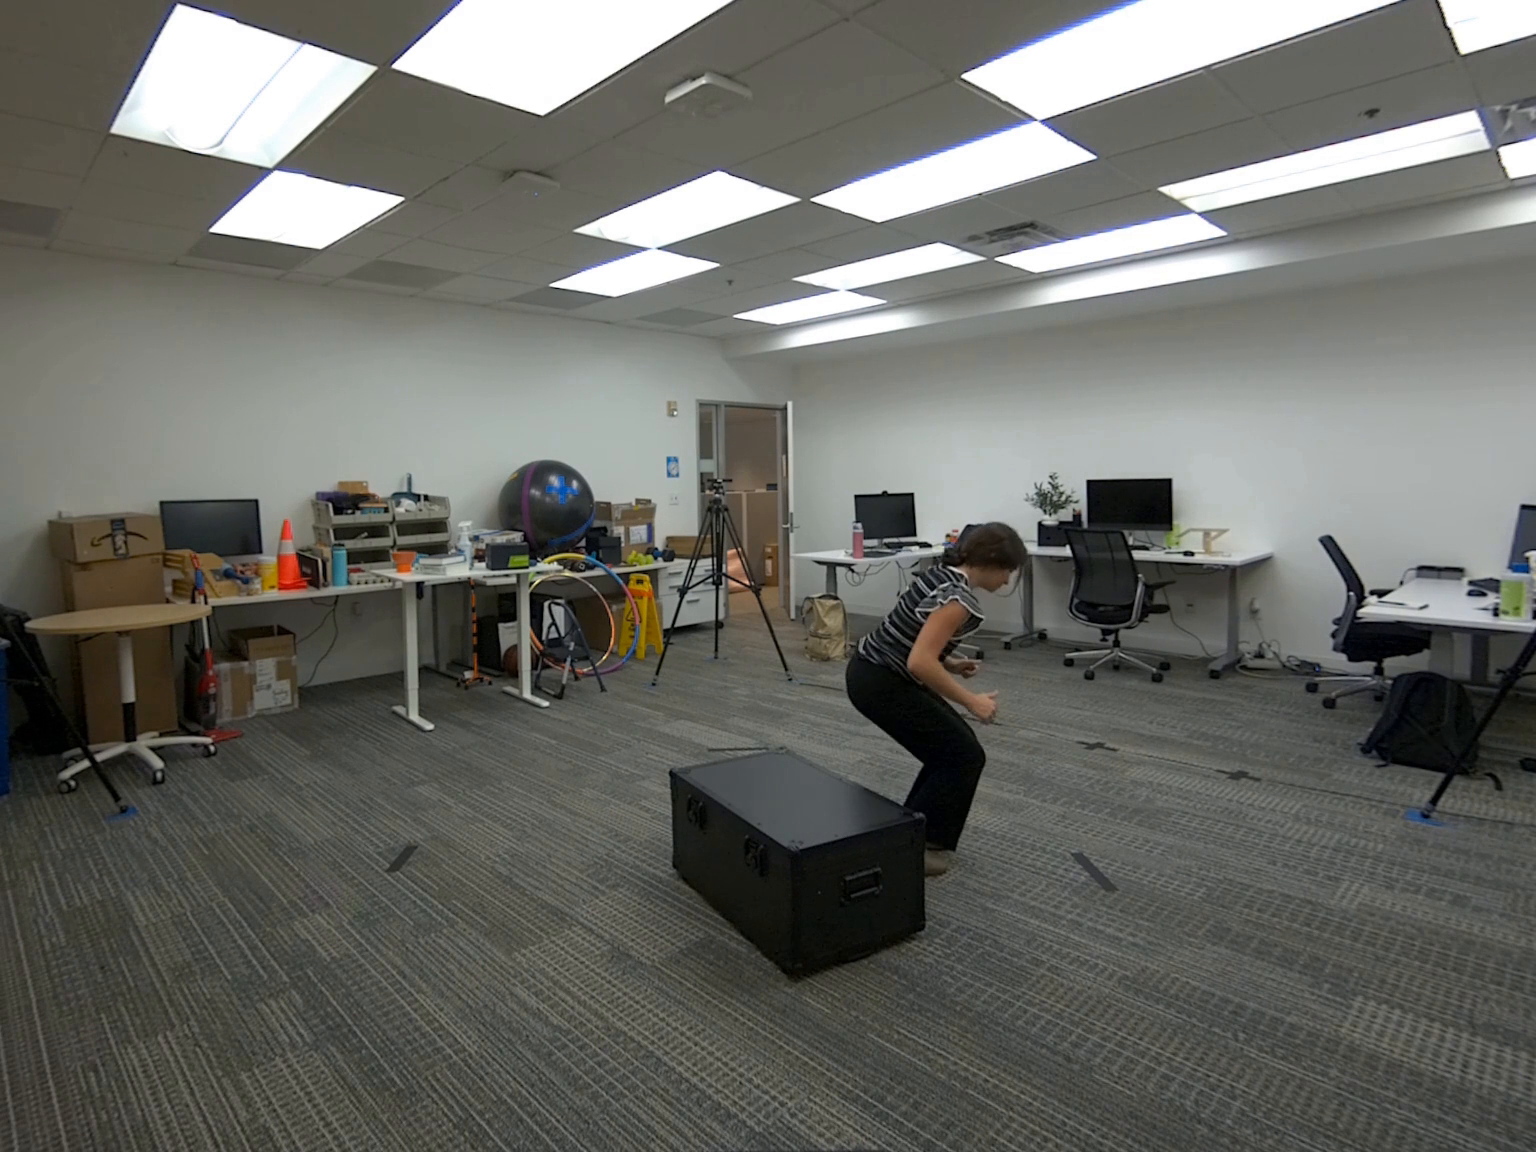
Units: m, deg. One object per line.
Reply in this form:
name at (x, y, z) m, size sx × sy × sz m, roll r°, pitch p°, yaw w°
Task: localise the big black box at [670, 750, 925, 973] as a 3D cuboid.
big black box at (0.053, 0.884, 2.827) m, size 0.509 × 0.394 × 0.886 m, roll -4°, pitch 7°, yaw -30°
